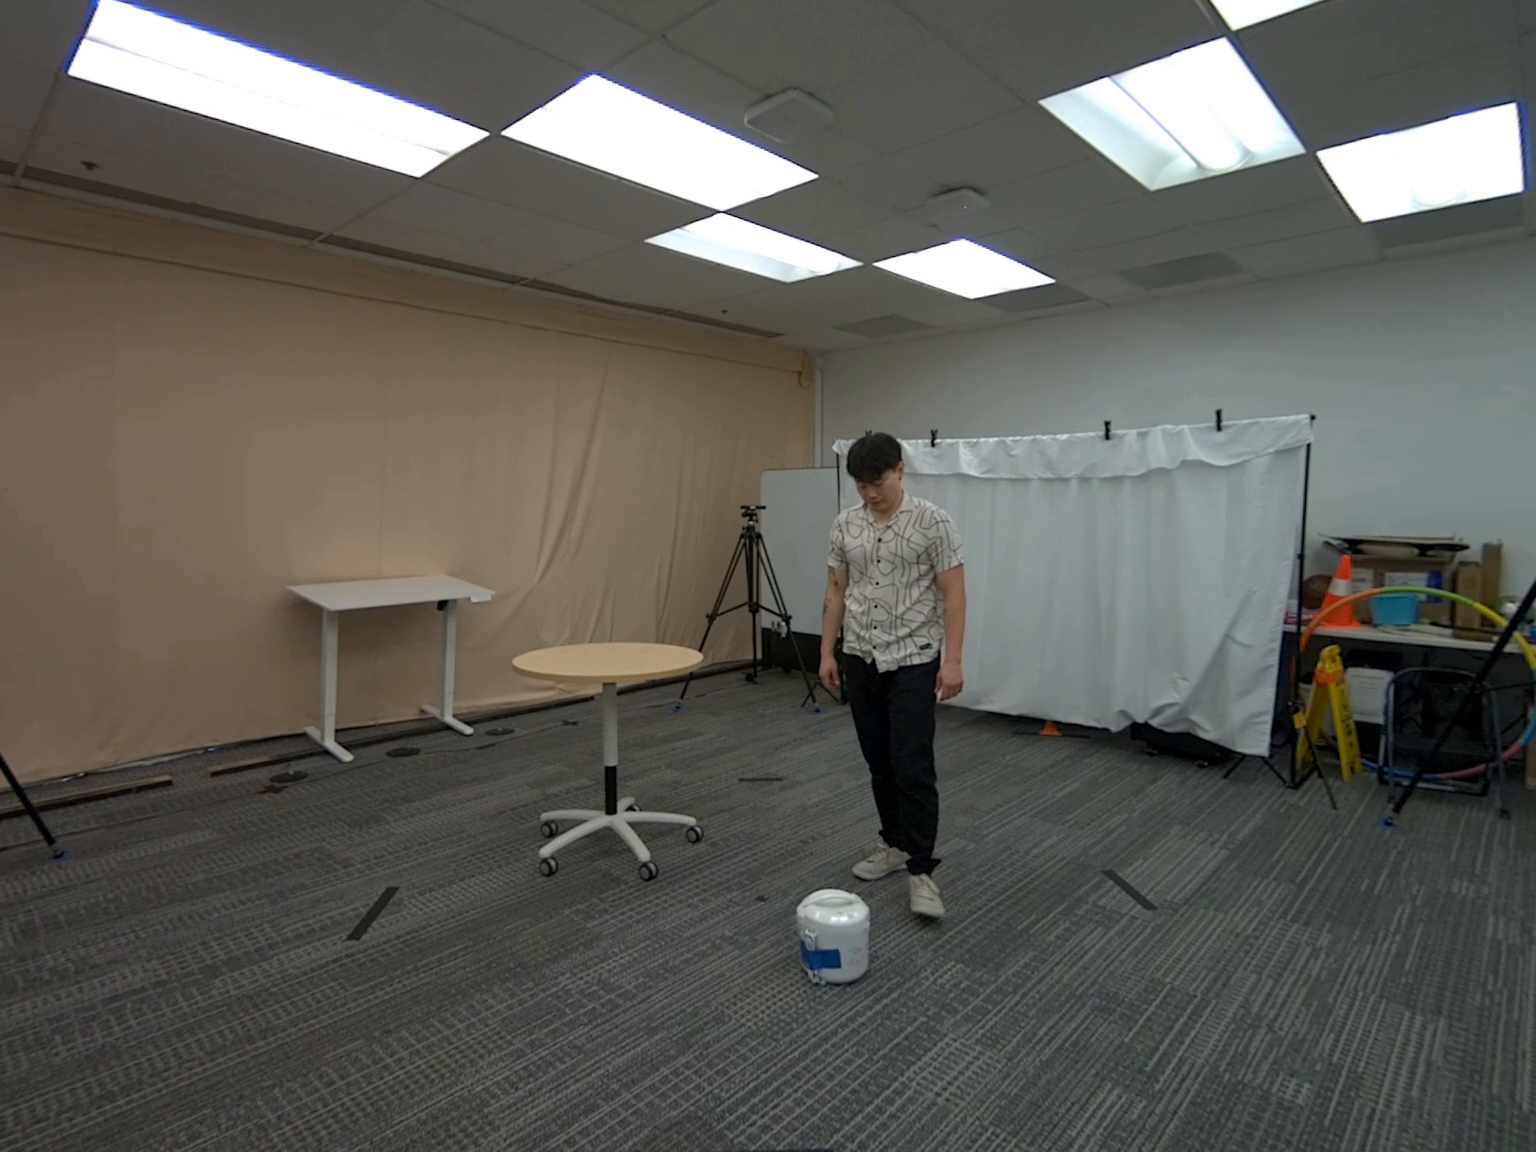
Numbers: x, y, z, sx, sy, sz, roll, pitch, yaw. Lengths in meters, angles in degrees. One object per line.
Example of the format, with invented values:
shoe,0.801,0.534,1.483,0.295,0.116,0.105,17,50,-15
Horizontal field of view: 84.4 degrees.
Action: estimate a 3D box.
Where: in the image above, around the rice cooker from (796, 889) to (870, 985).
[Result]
rice cooker,0.199,1.064,2.526,0.219,0.232,0.219,0,4,-6
